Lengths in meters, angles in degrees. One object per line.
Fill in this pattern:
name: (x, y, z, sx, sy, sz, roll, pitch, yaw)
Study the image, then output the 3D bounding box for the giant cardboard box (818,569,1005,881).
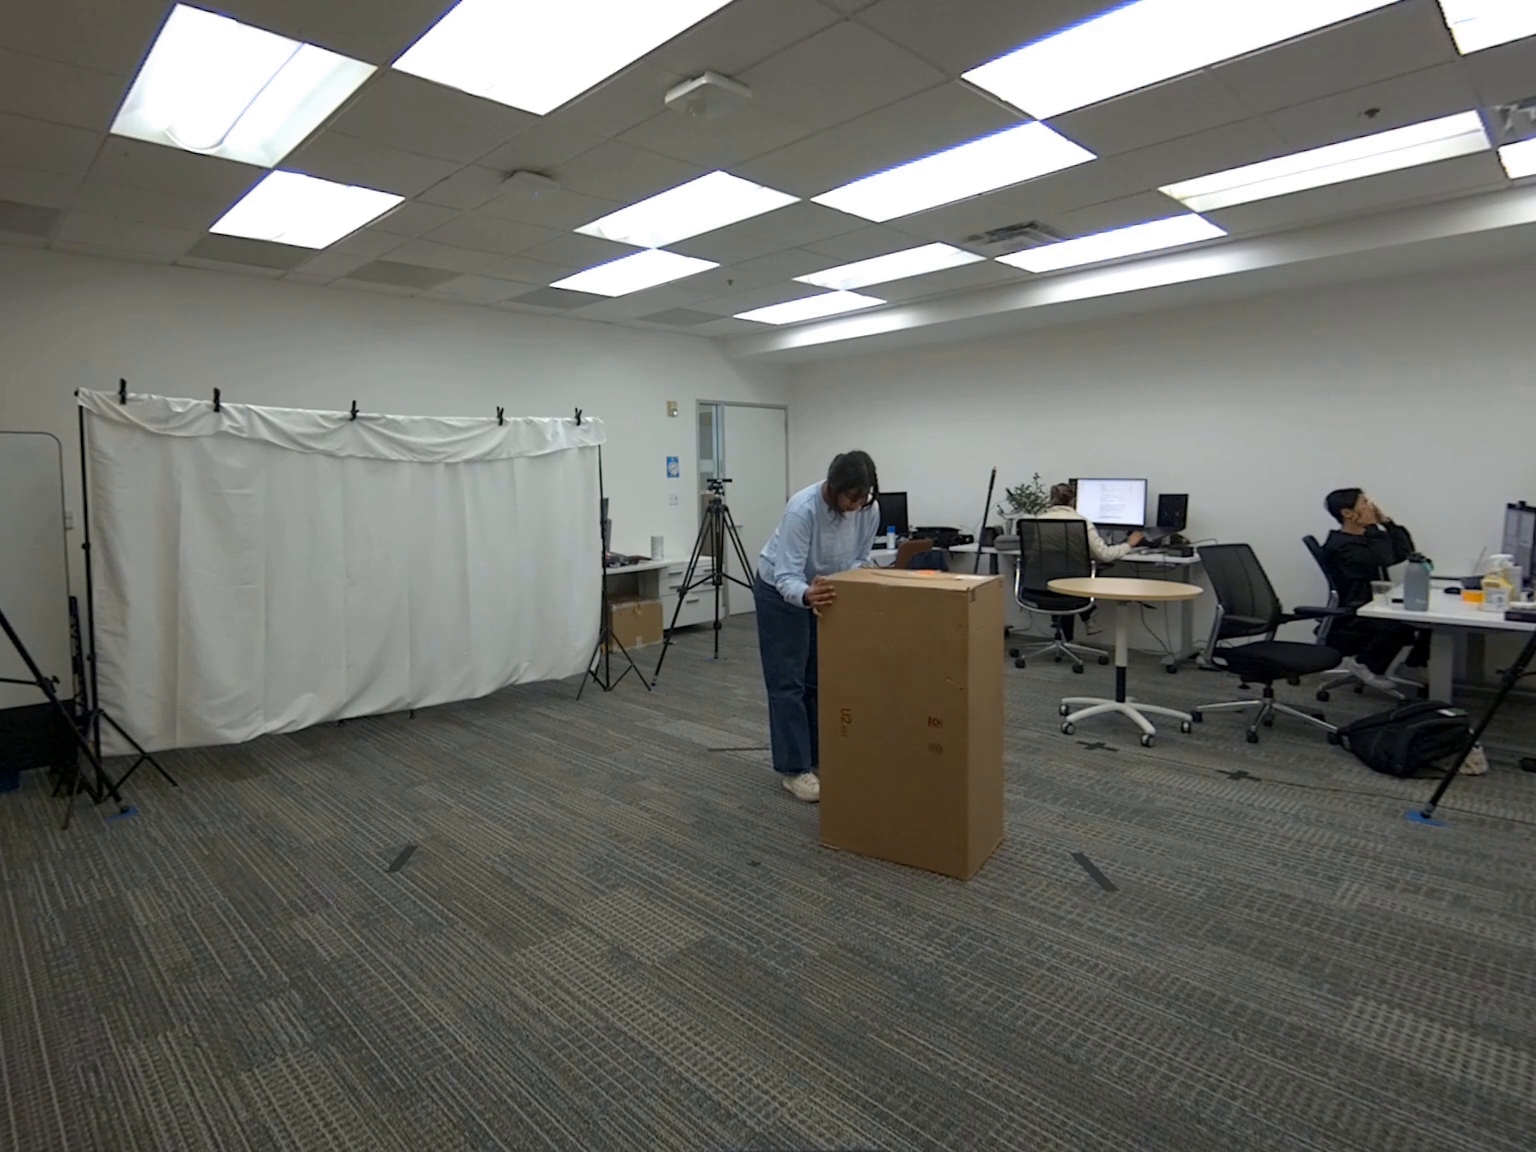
giant cardboard box: (0.550, 0.515, 3.232, 0.593, 1.021, 0.416, 2, 6, 32)
